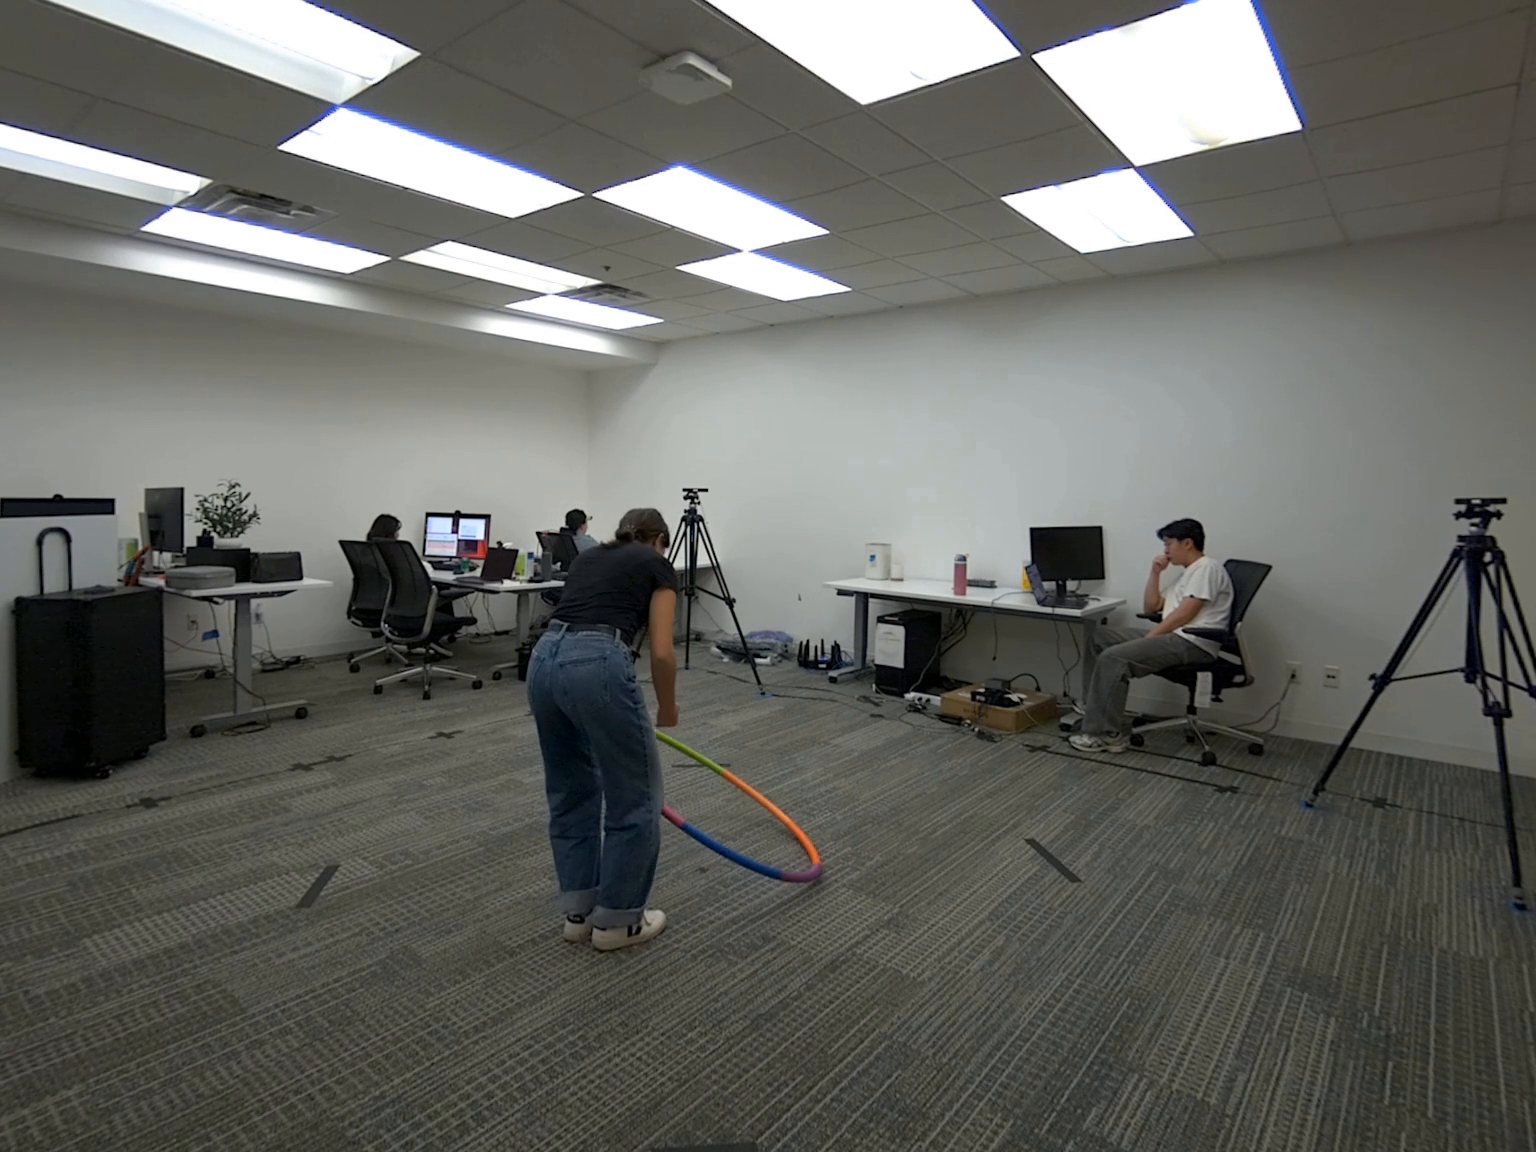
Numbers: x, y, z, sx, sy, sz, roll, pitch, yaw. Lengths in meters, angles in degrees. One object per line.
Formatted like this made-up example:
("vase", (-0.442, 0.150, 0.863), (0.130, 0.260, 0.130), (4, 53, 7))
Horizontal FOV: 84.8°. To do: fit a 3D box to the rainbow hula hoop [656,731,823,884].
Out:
("rainbow hula hoop", (-0.208, 0.802, 3.178), (0.978, 0.035, 0.980), (31, 0, -2))
